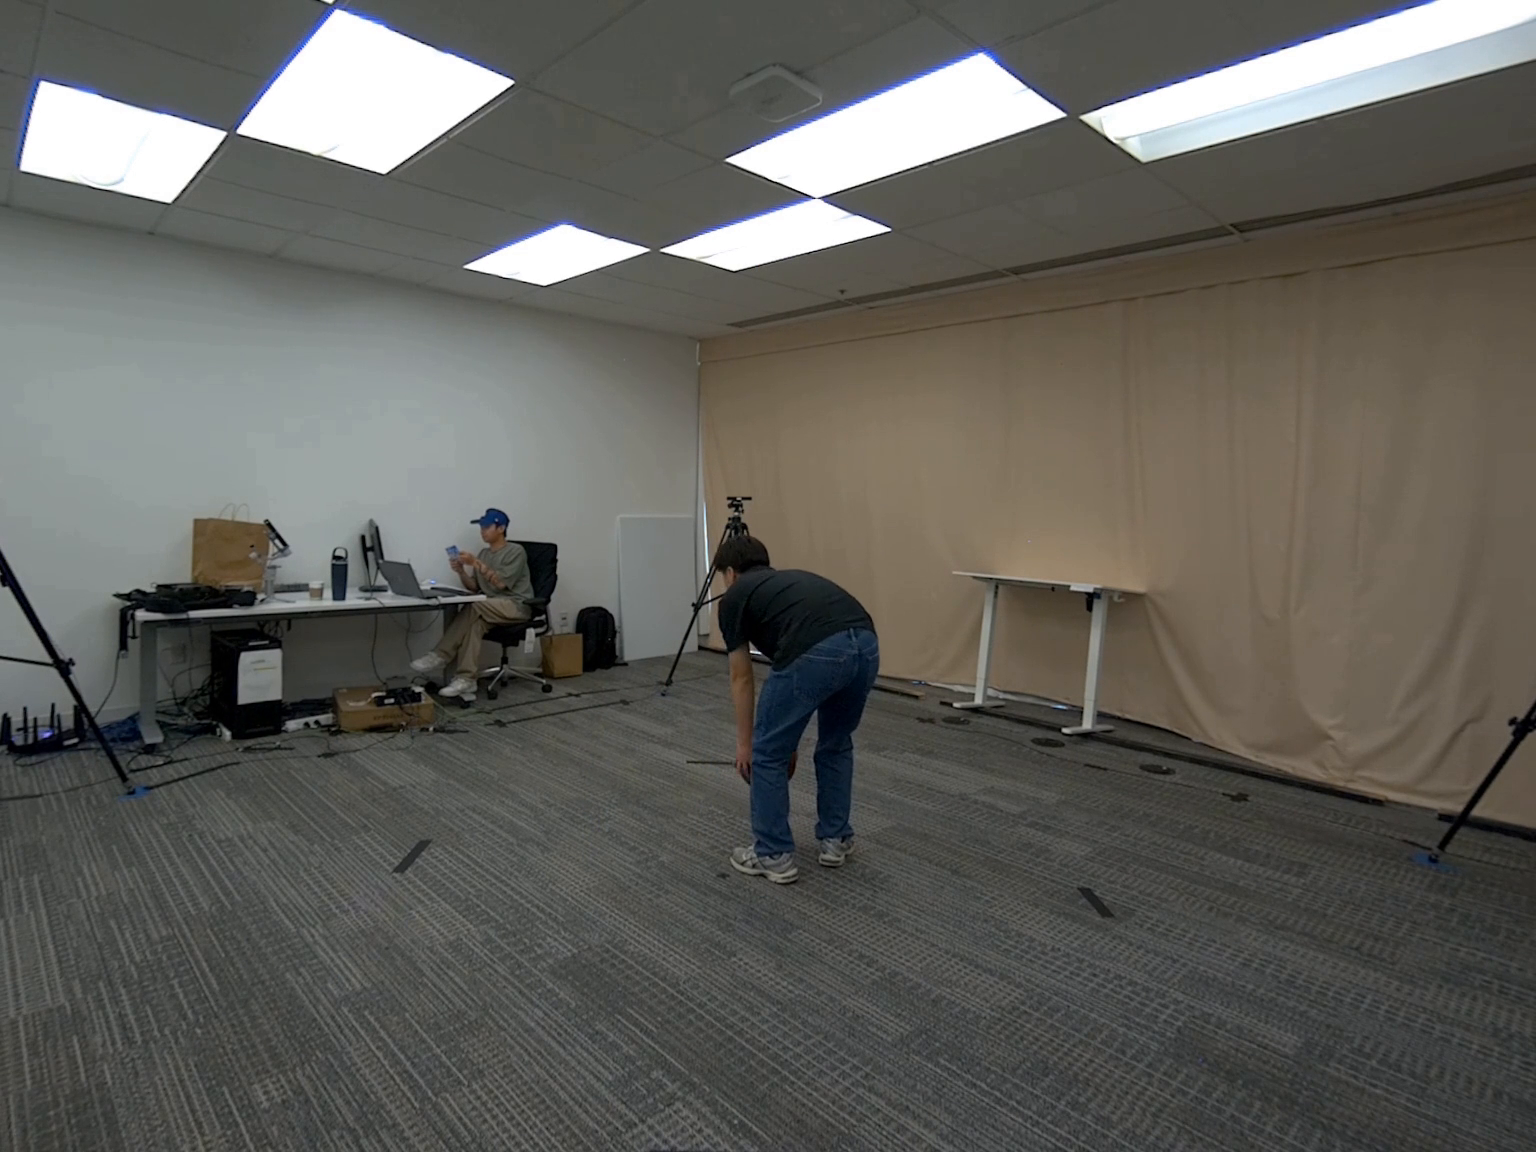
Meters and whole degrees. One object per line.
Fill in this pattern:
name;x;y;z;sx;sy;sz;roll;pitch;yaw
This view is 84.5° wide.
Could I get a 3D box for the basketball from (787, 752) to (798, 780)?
basketball;-0.002;0.748;3.432;0.236;0.235;0.237;1;4;-1
